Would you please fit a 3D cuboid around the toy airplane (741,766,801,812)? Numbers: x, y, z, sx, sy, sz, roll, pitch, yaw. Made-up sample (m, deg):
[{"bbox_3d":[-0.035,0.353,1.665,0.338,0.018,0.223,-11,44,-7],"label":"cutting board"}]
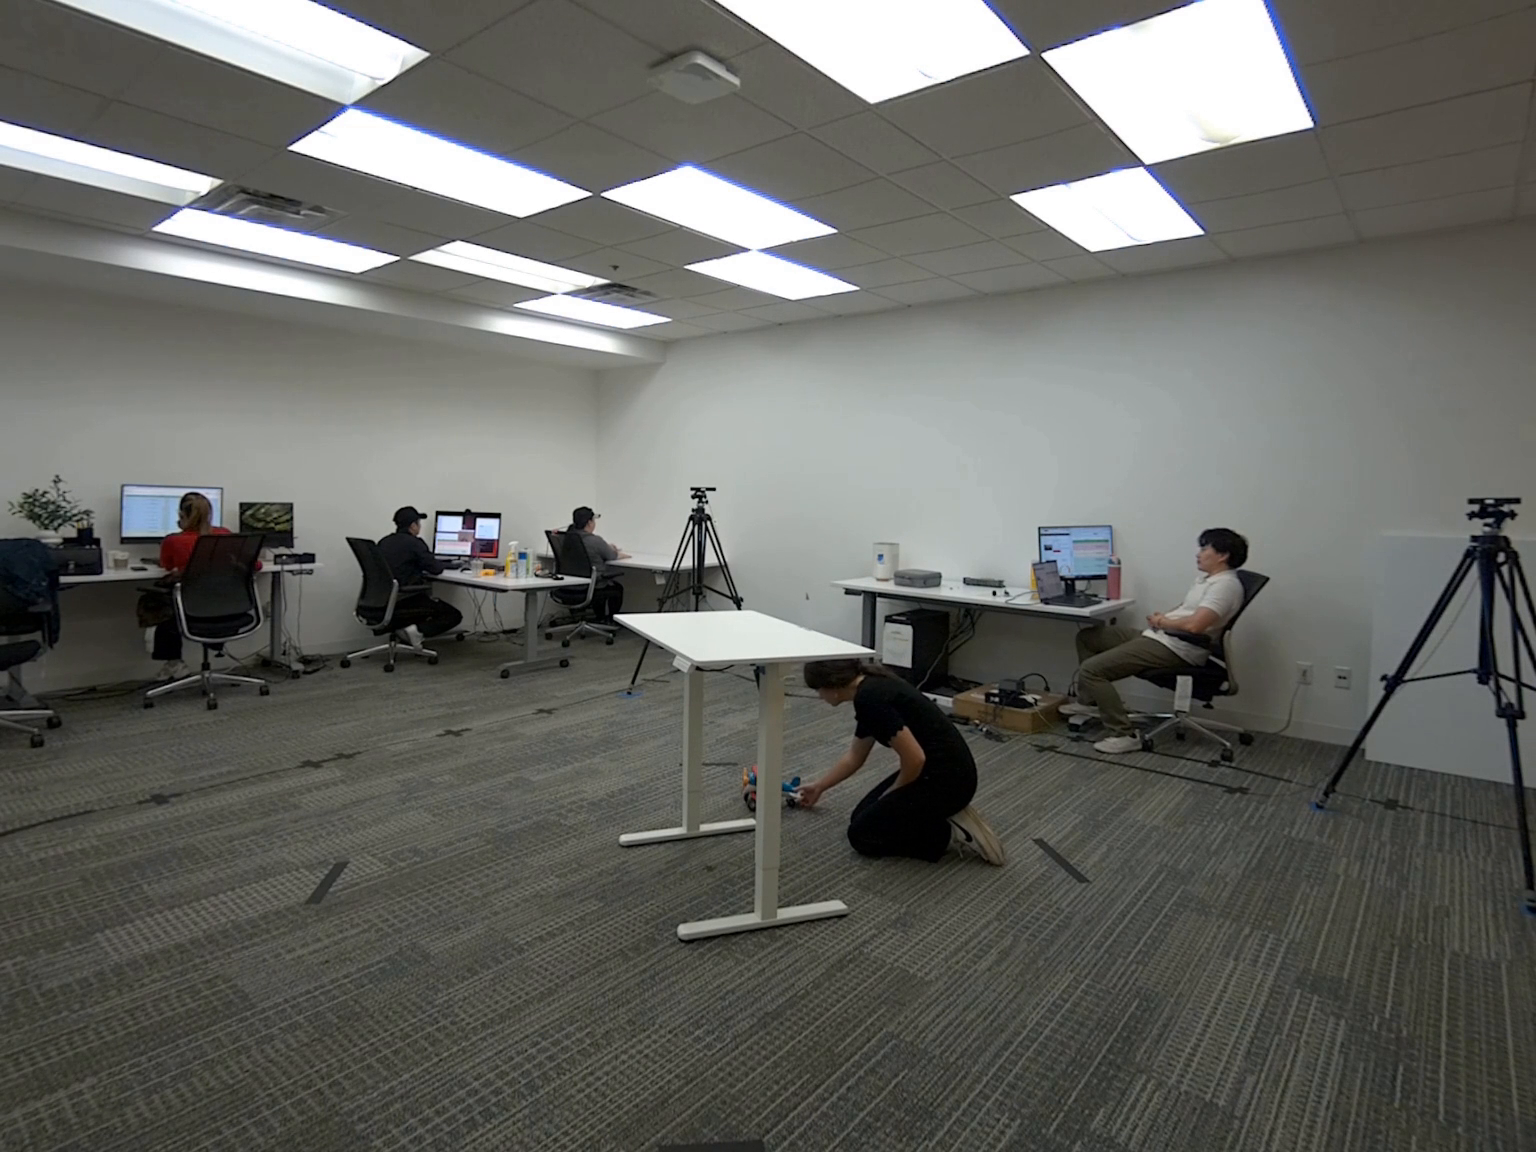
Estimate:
[{"bbox_3d":[-0.005,0.934,3.760,0.252,0.156,0.259,-4,6,-37],"label":"toy airplane"}]
